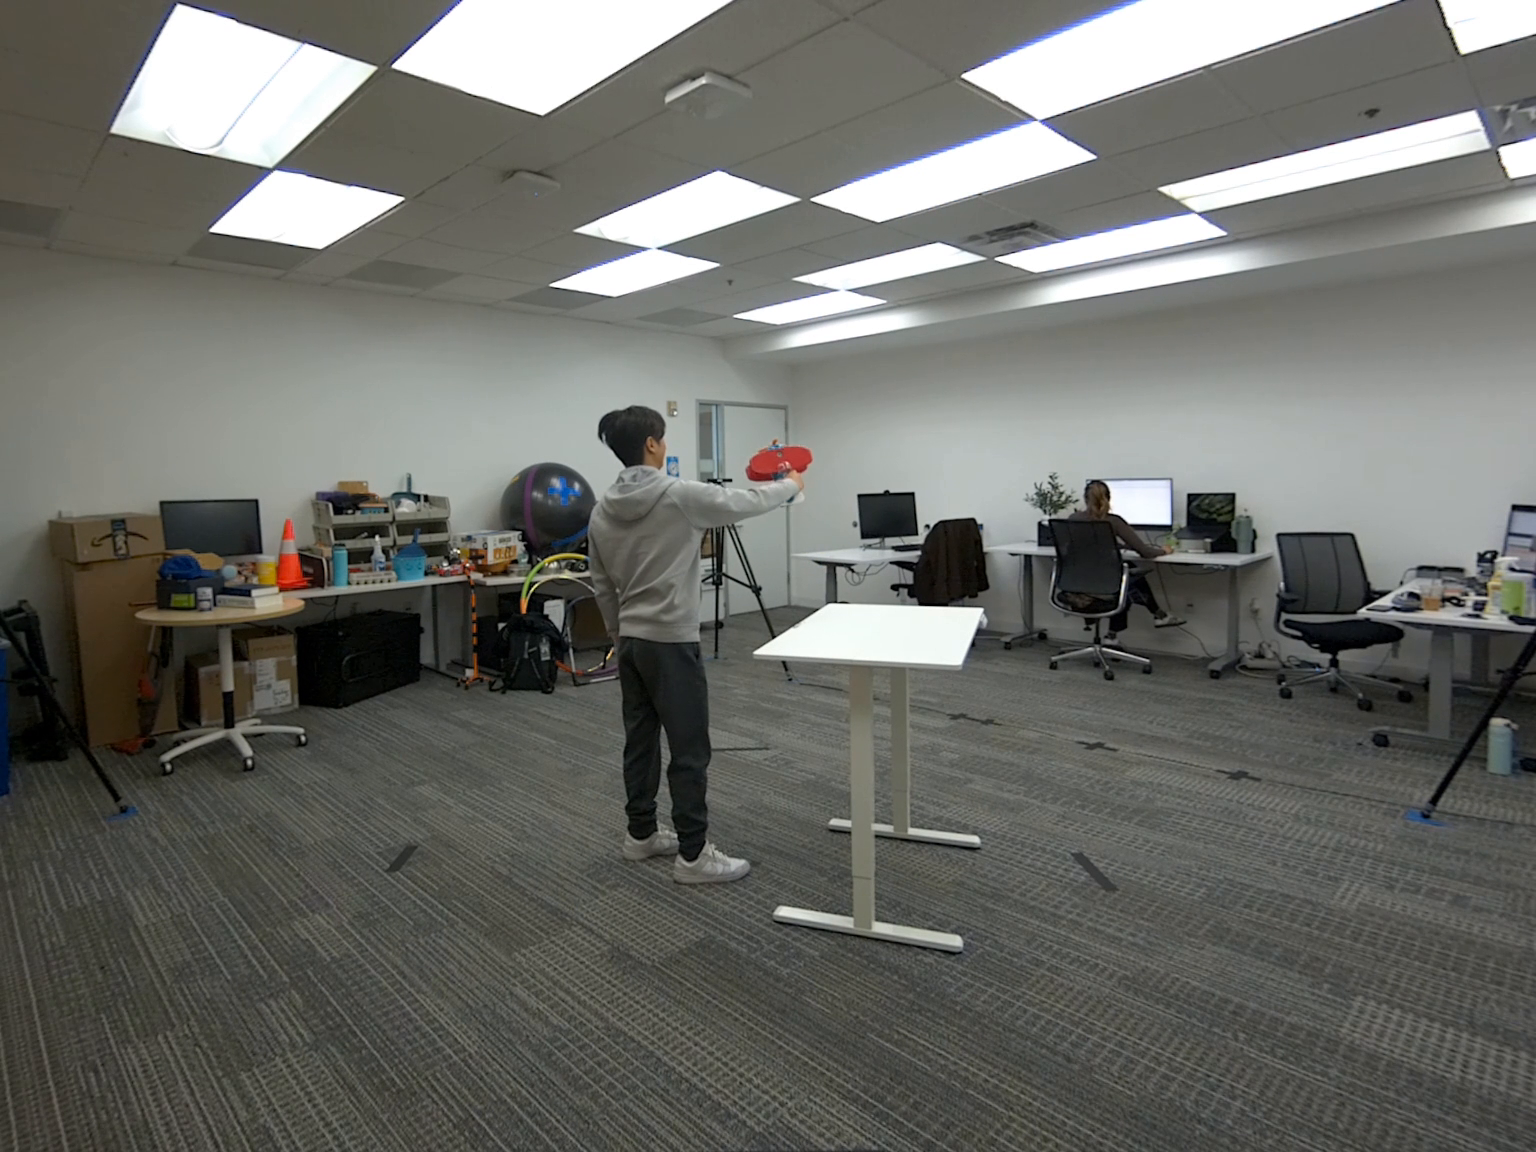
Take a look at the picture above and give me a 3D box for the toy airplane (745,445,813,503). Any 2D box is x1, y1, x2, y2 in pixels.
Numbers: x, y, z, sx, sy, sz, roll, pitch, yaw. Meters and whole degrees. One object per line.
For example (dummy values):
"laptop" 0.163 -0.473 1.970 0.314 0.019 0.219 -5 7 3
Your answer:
"toy airplane" 0.064 -0.406 3.395 0.250 0.266 0.153 -38 -21 -27
